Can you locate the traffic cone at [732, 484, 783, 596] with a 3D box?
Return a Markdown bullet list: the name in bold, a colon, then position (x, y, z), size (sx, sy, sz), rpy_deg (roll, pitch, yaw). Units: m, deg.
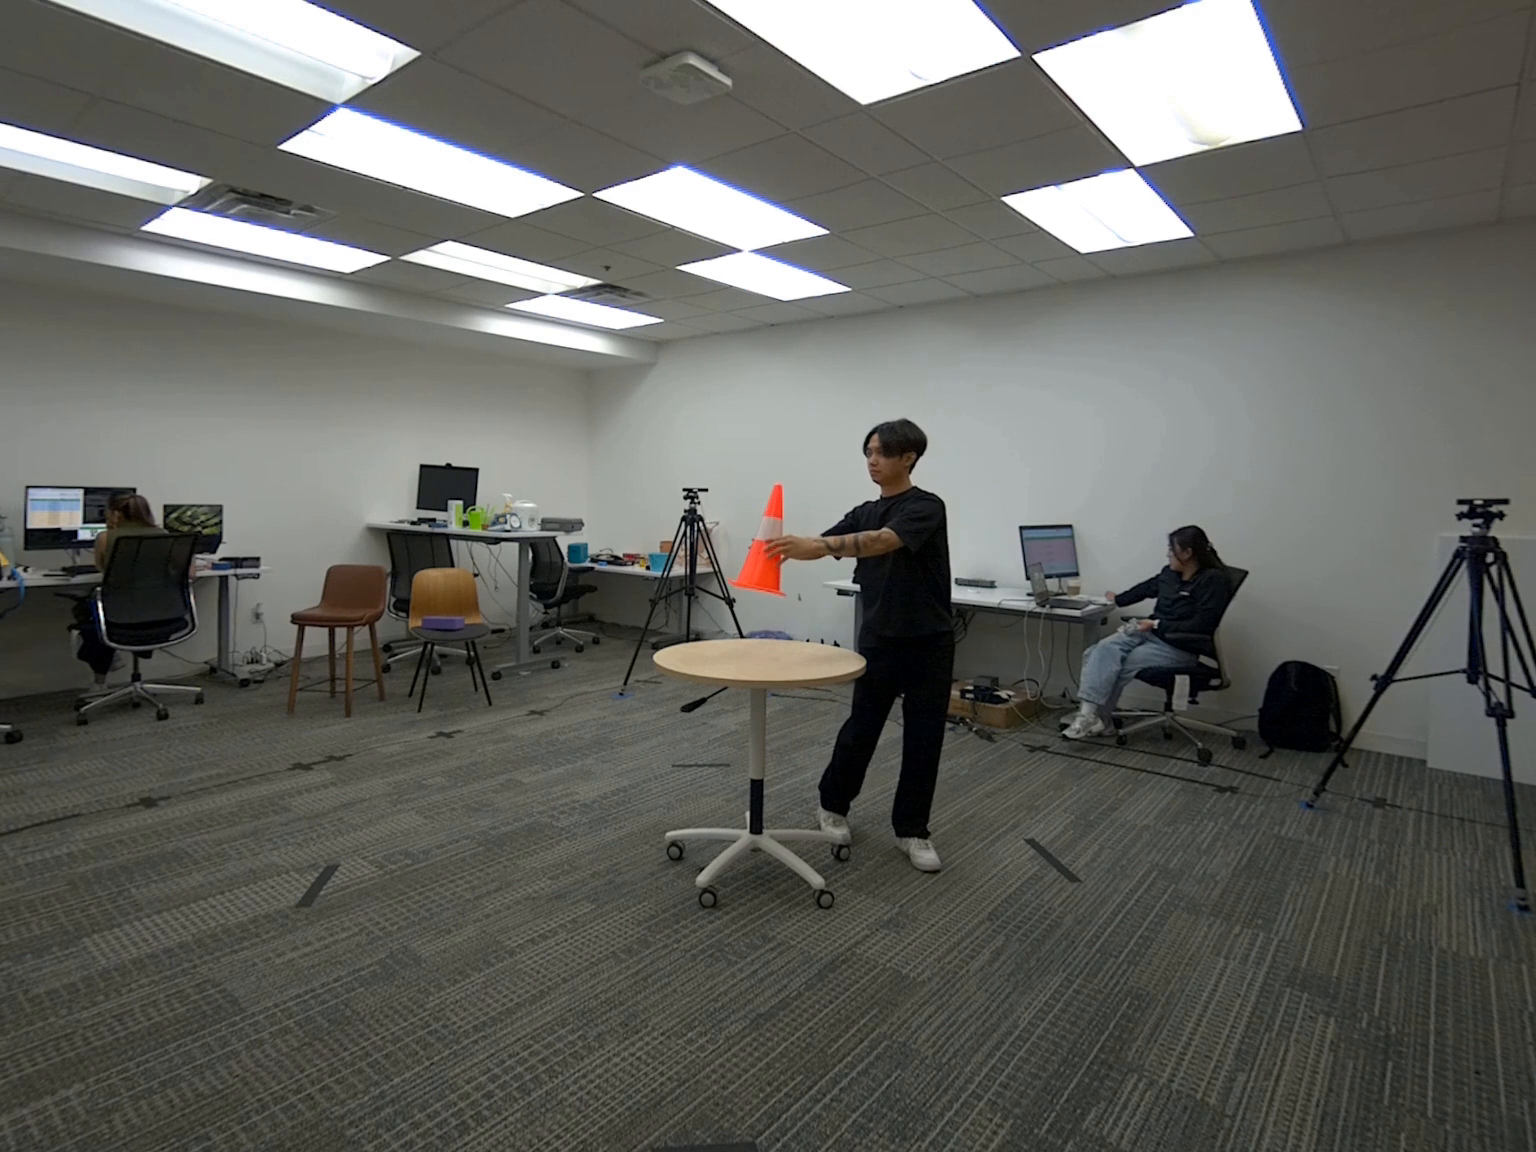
- **traffic cone**: position (0.003, -0.143, 3.018), size (0.208, 0.384, 0.200), rpy_deg (10, -2, 17)
